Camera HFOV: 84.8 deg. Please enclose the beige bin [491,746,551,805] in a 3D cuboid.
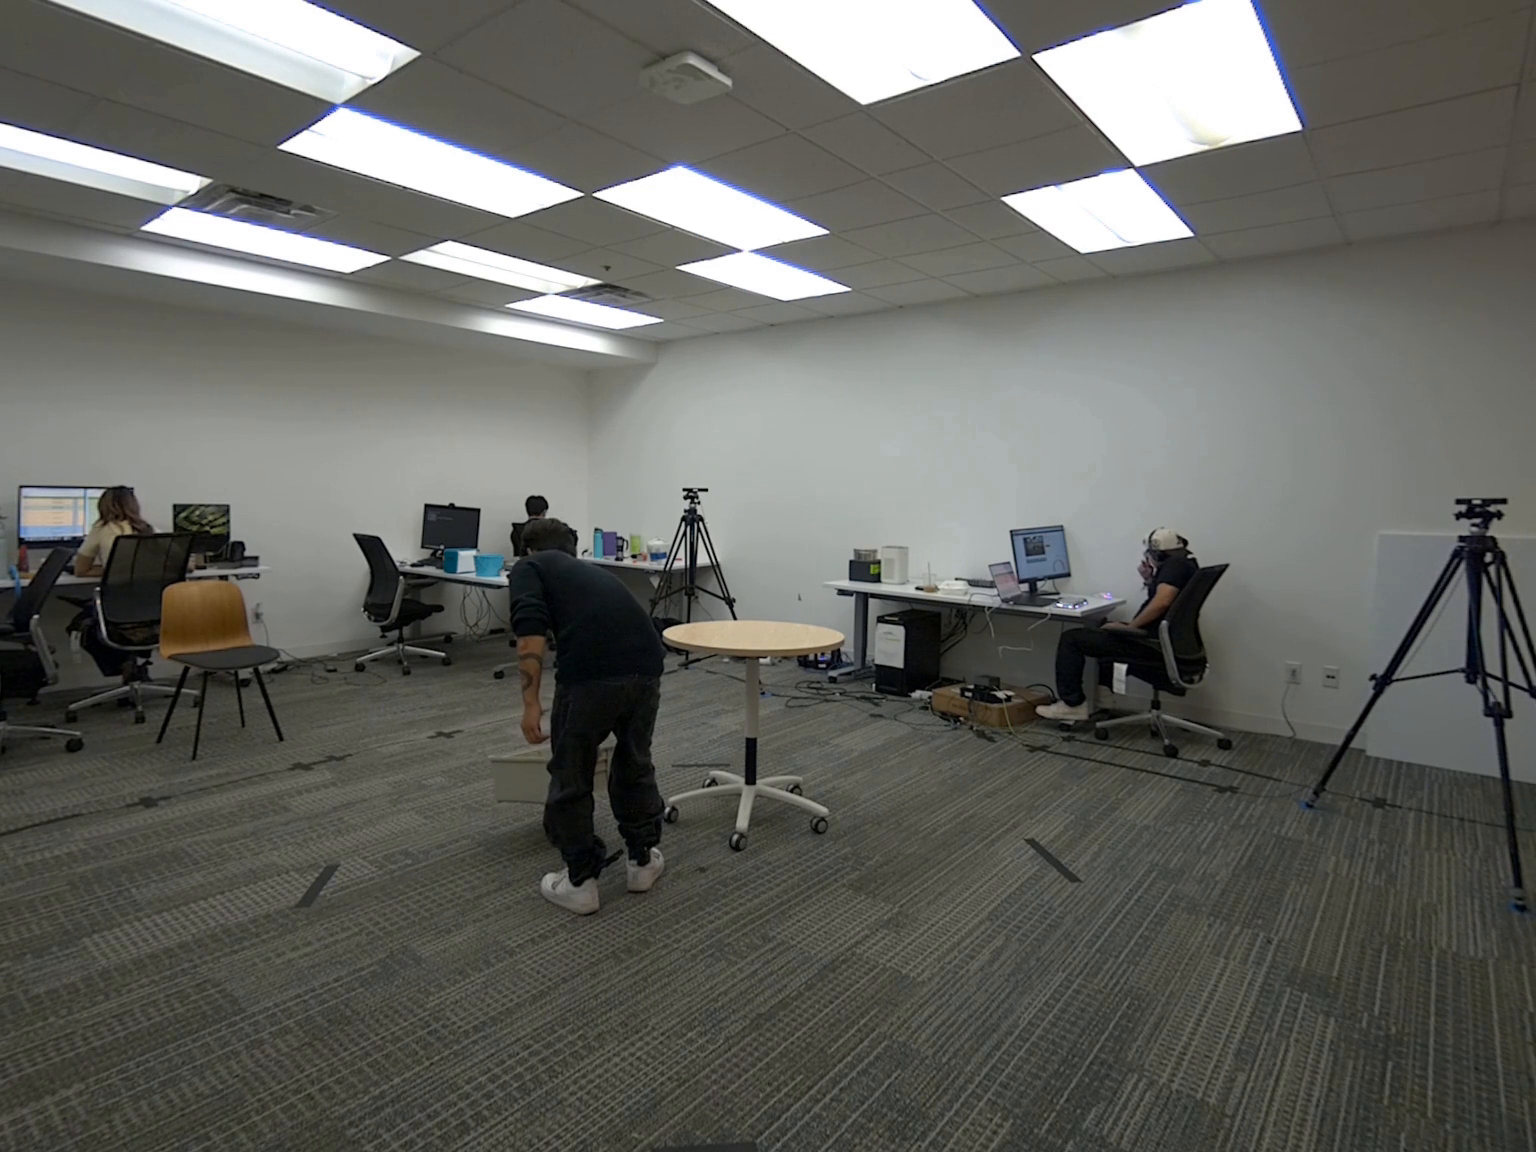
[{"bbox_3d":[-0.845,0.774,3.358,0.433,0.190,0.366,-8,-4,33],"label":"beige bin"}]
